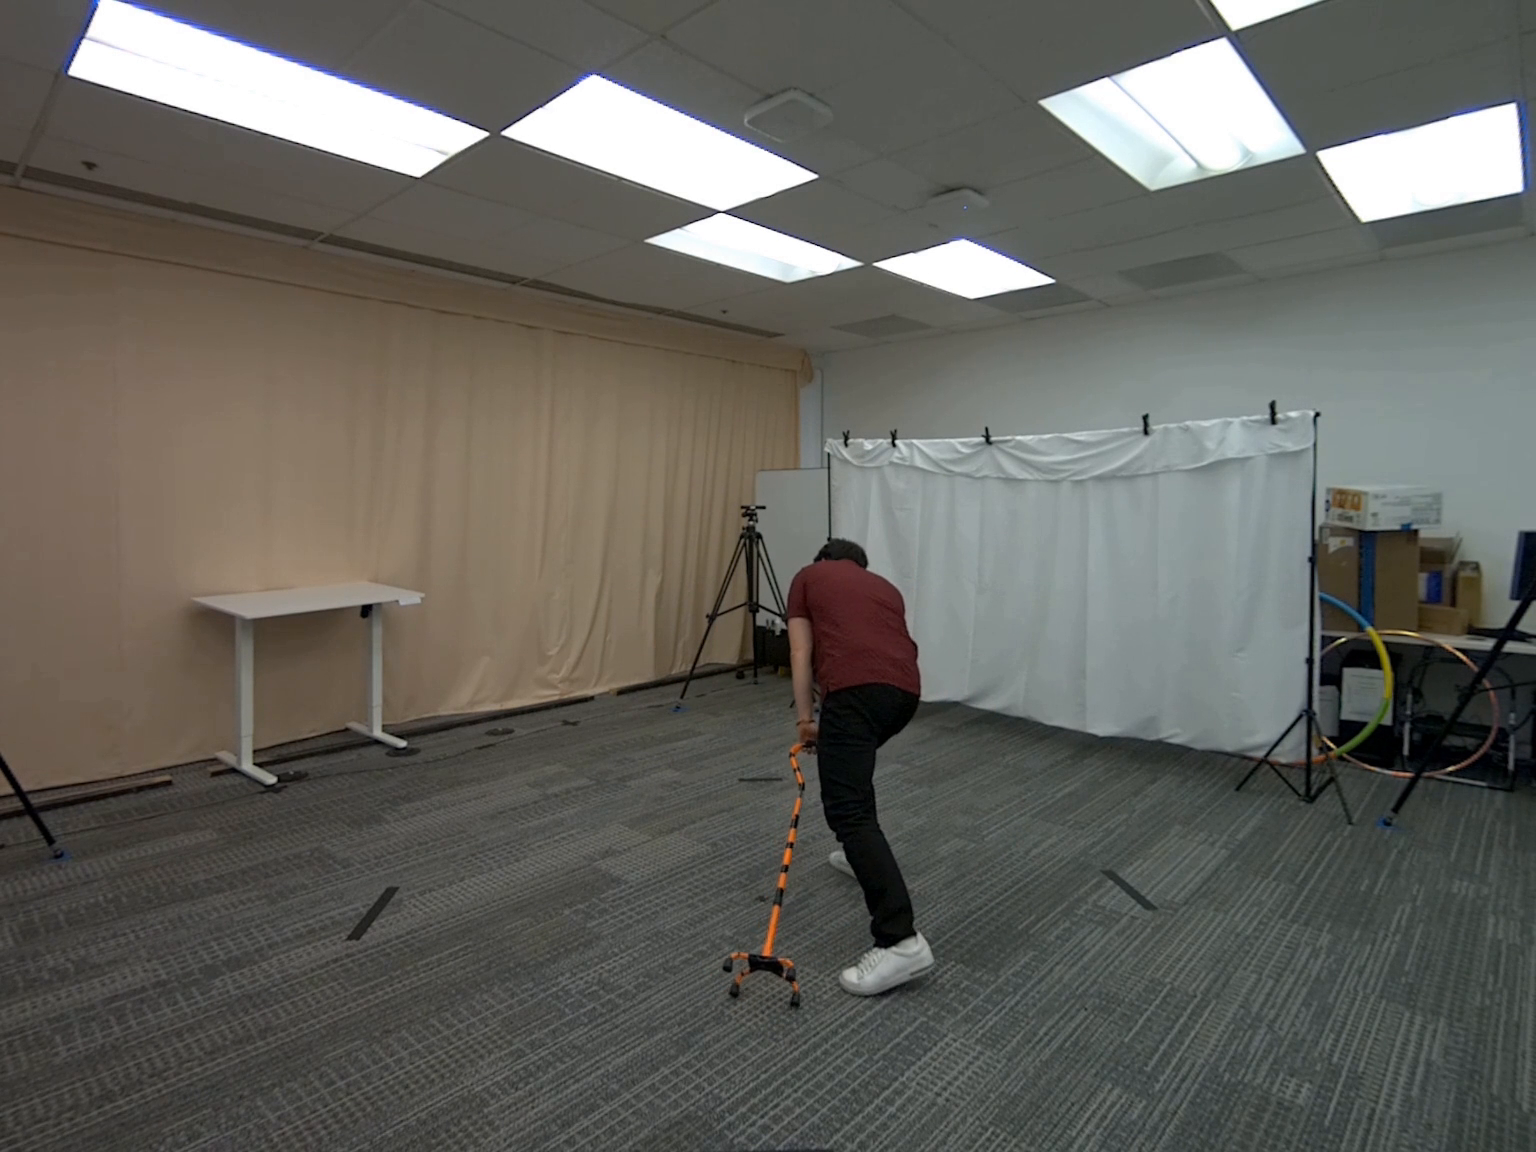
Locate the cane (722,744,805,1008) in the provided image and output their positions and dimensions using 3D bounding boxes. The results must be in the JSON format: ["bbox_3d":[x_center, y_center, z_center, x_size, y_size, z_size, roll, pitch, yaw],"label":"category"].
[{"bbox_3d":[0.073,0.874,2.672,0.210,0.148,0.912,0,35,16],"label":"cane"}]
